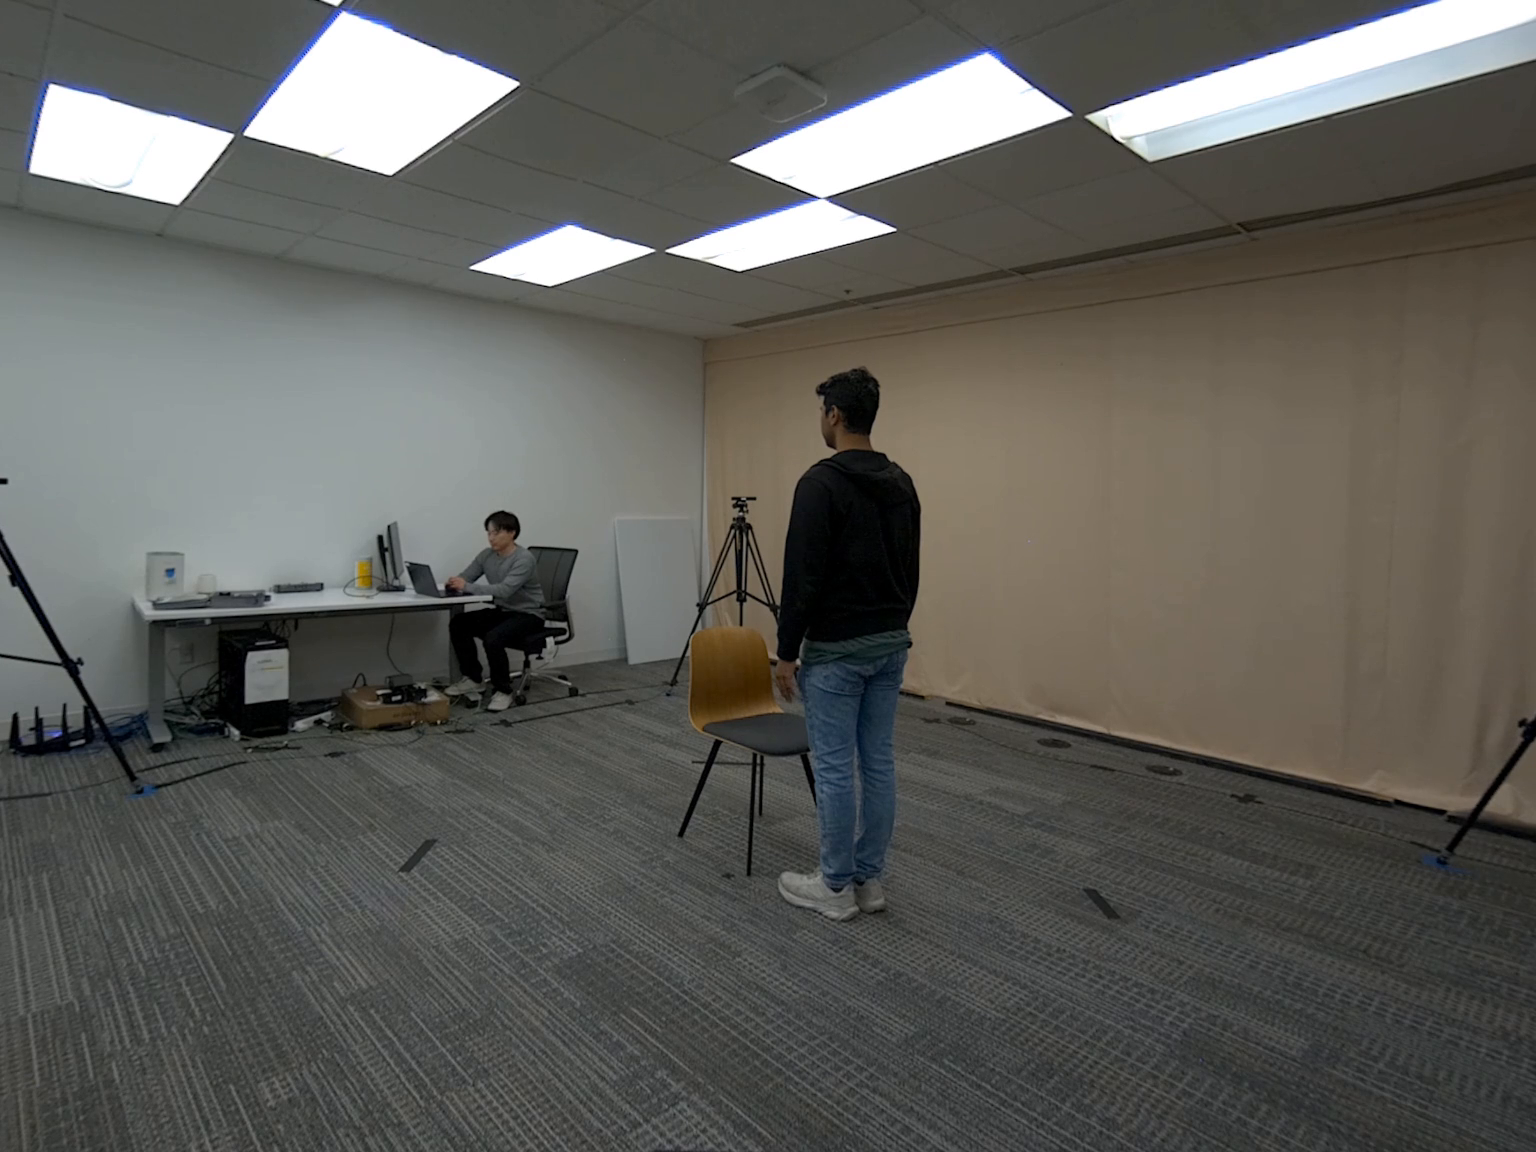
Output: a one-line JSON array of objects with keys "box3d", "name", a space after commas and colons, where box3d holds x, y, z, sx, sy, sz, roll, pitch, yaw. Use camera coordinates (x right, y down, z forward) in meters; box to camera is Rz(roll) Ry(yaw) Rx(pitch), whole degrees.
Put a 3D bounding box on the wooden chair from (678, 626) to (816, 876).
[{"box3d": [-0.047, 0.660, 3.382, 0.467, 0.878, 0.535, 0, -1, -40], "name": "wooden chair"}]
